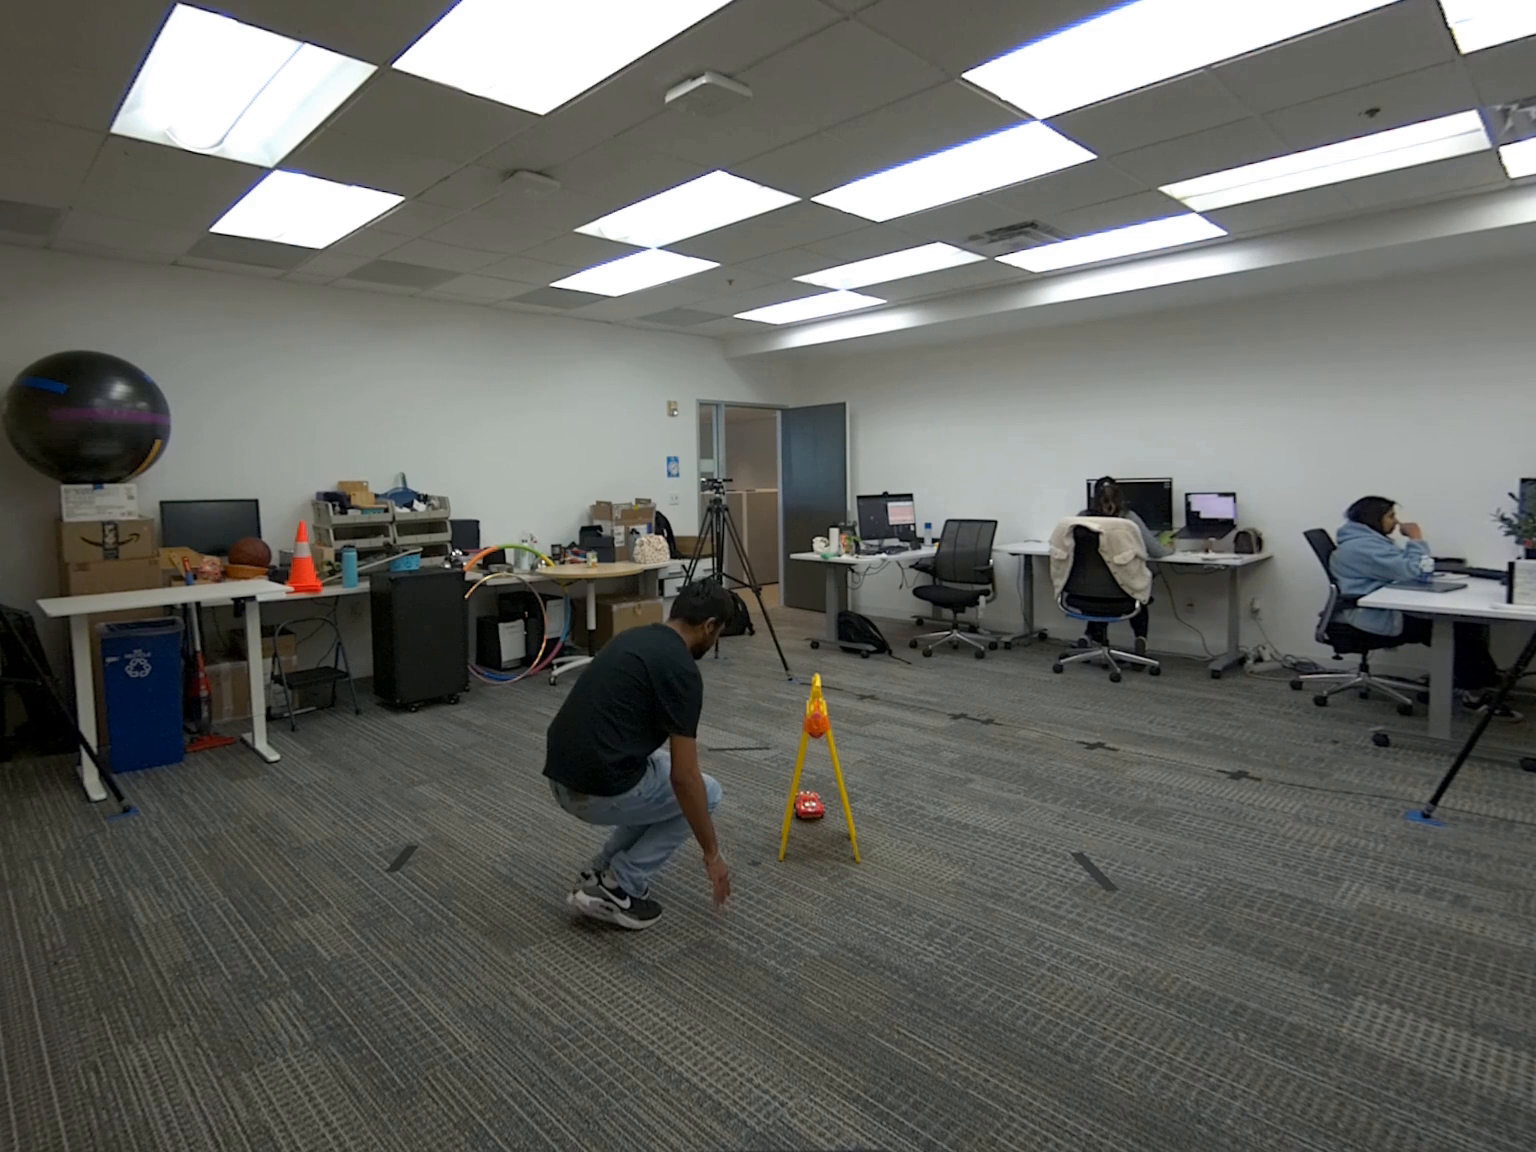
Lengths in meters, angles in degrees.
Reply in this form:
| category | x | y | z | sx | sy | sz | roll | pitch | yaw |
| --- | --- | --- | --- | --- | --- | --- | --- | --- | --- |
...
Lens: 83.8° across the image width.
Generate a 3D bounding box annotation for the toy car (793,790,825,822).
| category | x | y | z | sx | sy | sz | roll | pitch | yaw |
| --- | --- | --- | --- | --- | --- | --- | --- | --- | --- |
| toy car | 0.170 | 0.958 | 3.572 | 0.130 | 0.084 | 0.253 | -1 | -5 | -3 |
